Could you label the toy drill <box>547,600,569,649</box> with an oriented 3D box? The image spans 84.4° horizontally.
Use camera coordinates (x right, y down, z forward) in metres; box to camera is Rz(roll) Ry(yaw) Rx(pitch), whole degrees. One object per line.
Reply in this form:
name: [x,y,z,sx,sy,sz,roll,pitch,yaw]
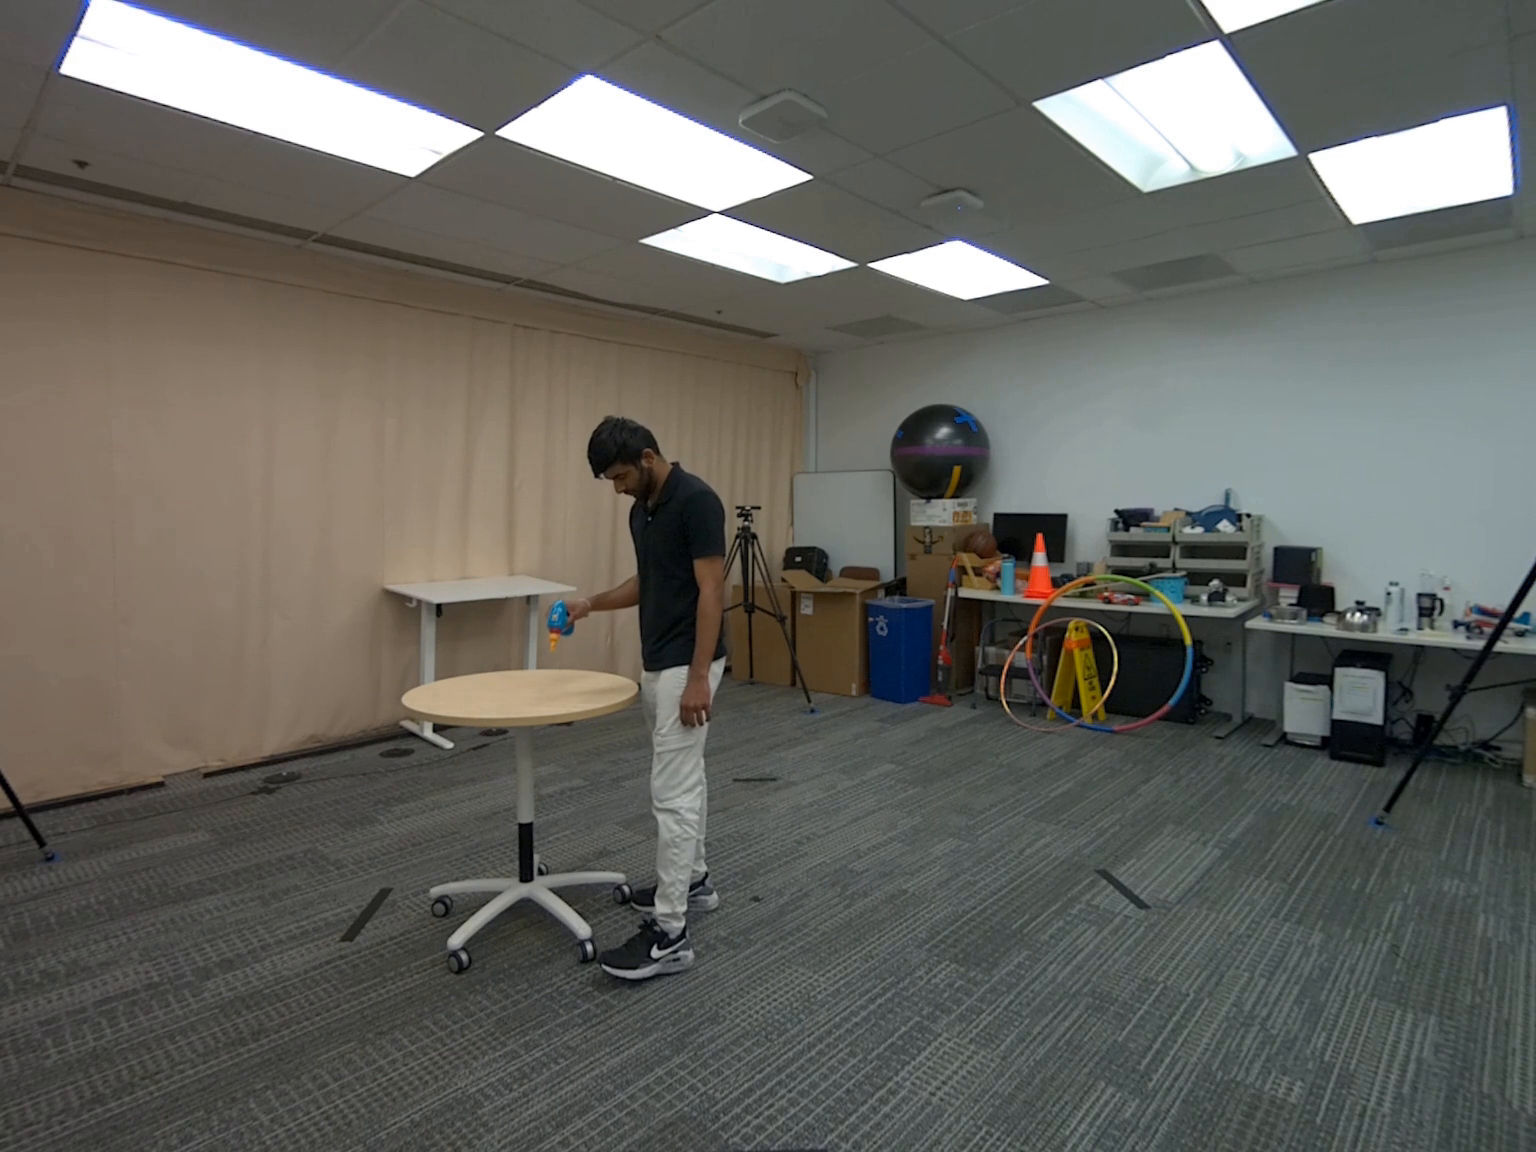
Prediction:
toy drill: [-0.670,0.175,2.730,0.061,0.172,0.143,0,-22,3]
